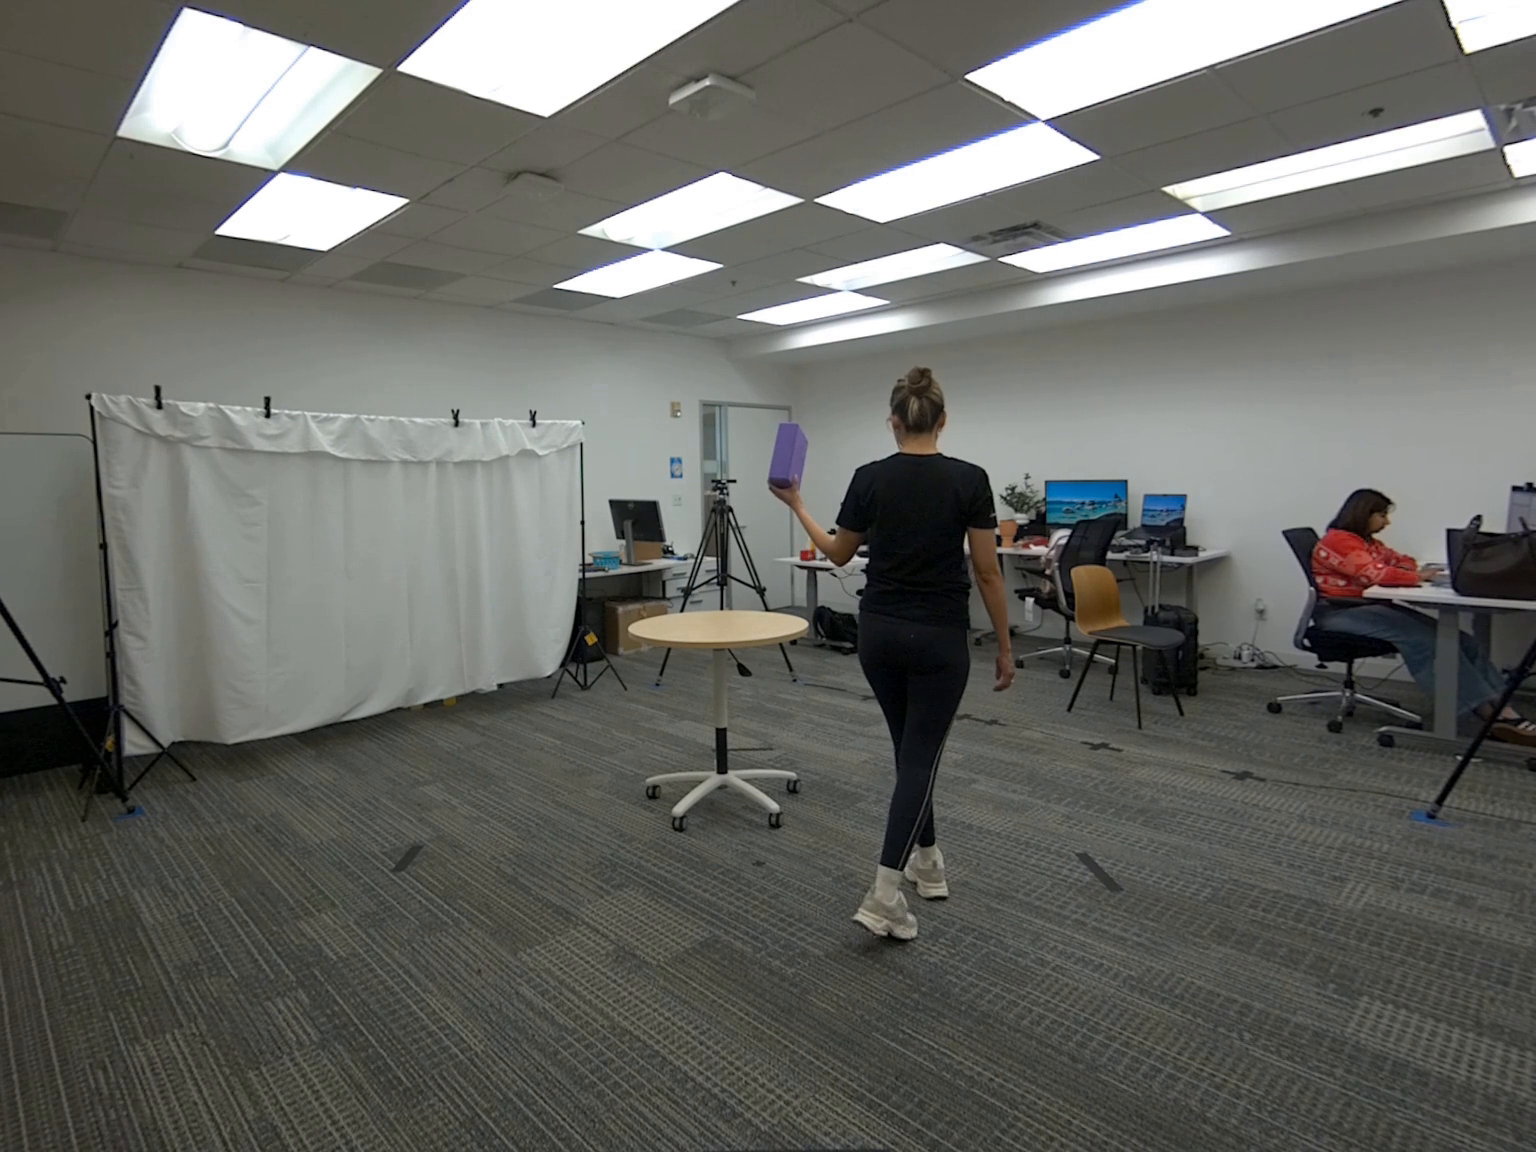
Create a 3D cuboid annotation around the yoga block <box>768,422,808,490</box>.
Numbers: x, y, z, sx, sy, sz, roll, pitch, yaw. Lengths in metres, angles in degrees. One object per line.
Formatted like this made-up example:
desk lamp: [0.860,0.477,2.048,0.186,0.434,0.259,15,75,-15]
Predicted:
yoga block: [0.071,-0.420,3.061,0.078,0.232,0.144,4,-19,20]
